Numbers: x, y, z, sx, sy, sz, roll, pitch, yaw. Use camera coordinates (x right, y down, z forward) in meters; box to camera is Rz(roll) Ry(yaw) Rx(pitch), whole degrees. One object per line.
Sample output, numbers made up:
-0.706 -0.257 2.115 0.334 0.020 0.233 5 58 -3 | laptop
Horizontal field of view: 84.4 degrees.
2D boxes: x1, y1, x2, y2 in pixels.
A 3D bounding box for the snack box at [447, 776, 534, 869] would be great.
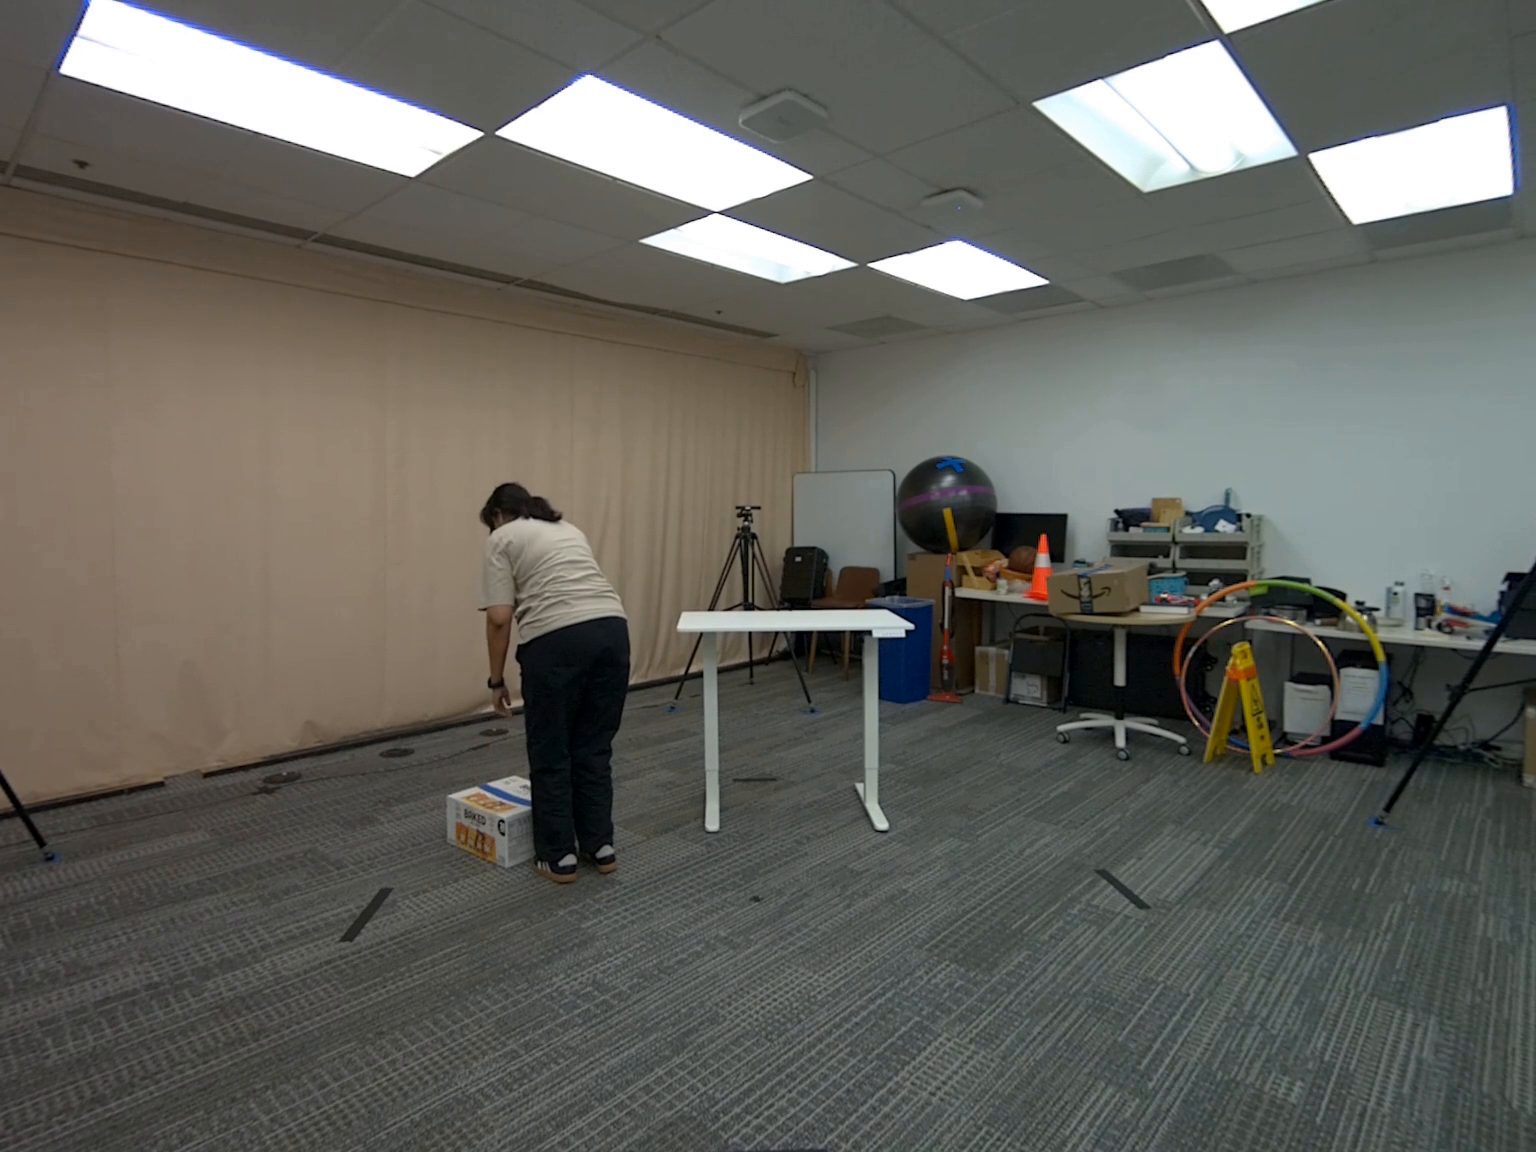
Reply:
-1.072 1.013 3.494 0.418 0.205 0.330 3 6 38 | snack box
